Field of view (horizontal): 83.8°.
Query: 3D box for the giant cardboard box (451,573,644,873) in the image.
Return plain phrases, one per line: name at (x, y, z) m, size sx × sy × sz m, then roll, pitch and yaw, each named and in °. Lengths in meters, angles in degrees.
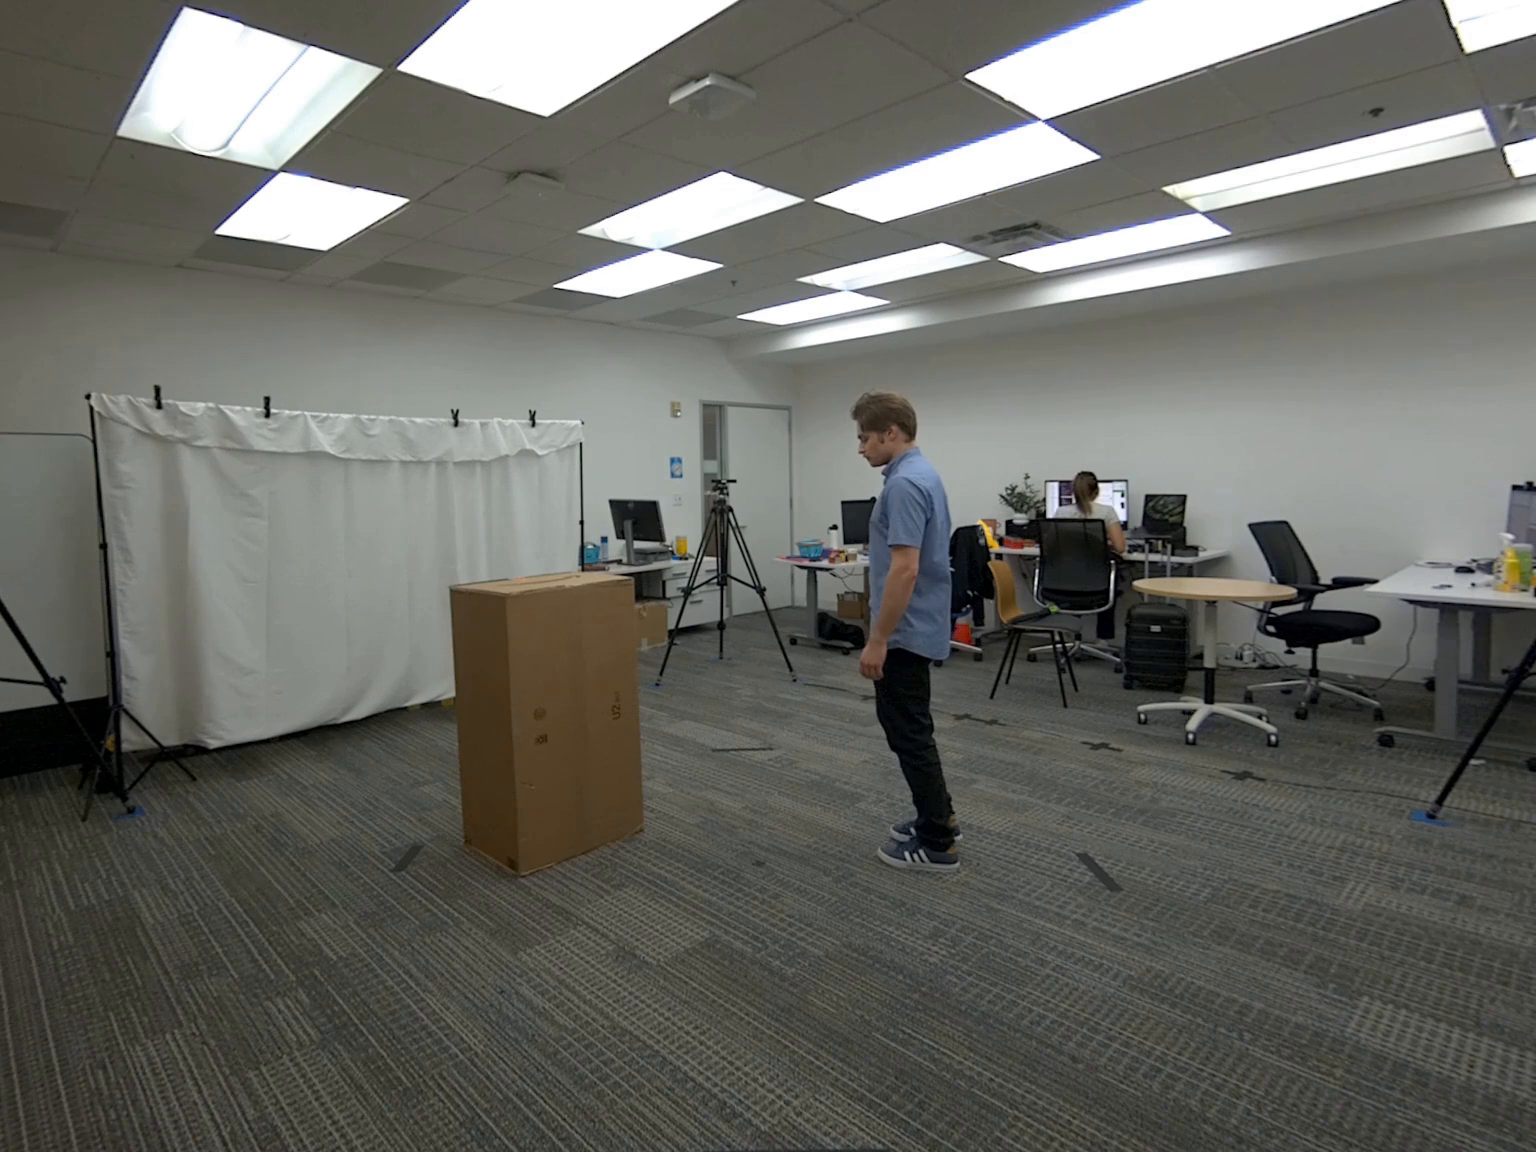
giant cardboard box at (-0.861, 0.528, 3.351) m, size 0.439 × 1.022 × 0.562 m, roll 2°, pitch 5°, yaw 45°
